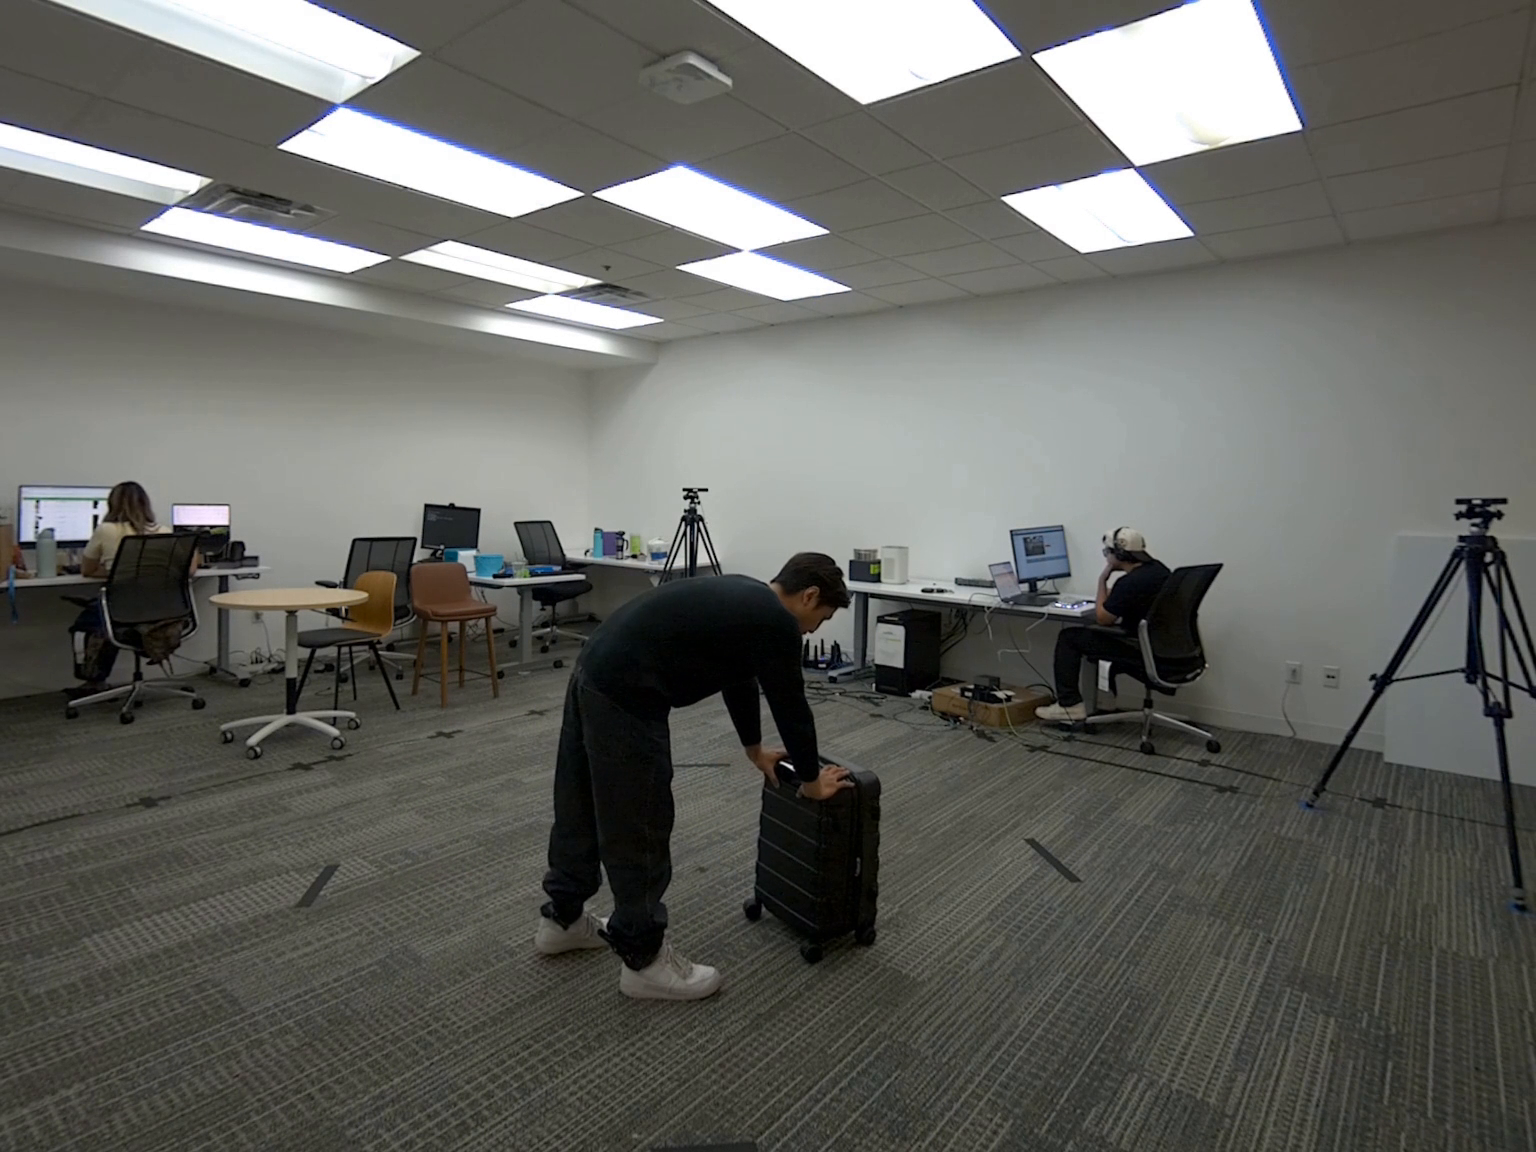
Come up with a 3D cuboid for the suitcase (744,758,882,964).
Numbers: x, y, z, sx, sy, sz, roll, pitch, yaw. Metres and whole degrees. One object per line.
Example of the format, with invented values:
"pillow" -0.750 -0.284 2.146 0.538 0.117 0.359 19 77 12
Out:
"suitcase" 0.145 0.842 2.698 0.241 0.549 0.387 2 2 -34
